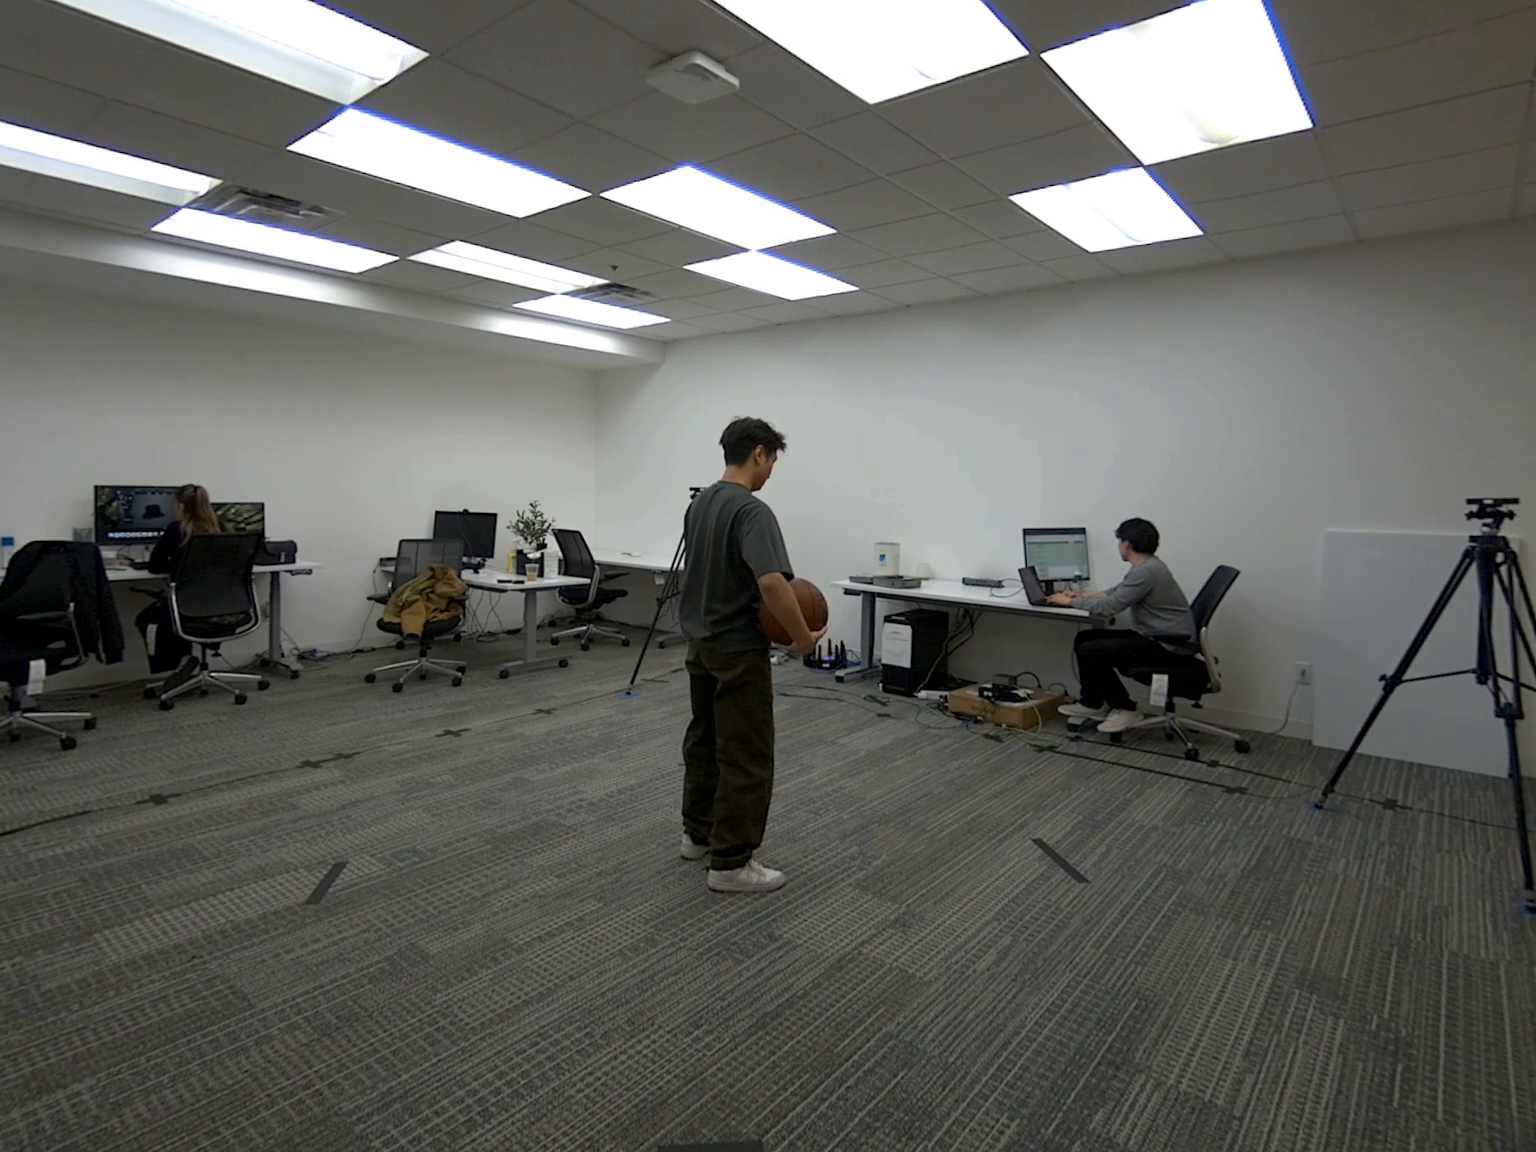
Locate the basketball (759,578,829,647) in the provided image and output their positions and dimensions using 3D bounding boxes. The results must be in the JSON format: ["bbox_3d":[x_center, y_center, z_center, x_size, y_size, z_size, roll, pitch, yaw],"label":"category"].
[{"bbox_3d":[0.075,0.119,2.897,0.235,0.235,0.237,1,4,-2],"label":"basketball"}]
